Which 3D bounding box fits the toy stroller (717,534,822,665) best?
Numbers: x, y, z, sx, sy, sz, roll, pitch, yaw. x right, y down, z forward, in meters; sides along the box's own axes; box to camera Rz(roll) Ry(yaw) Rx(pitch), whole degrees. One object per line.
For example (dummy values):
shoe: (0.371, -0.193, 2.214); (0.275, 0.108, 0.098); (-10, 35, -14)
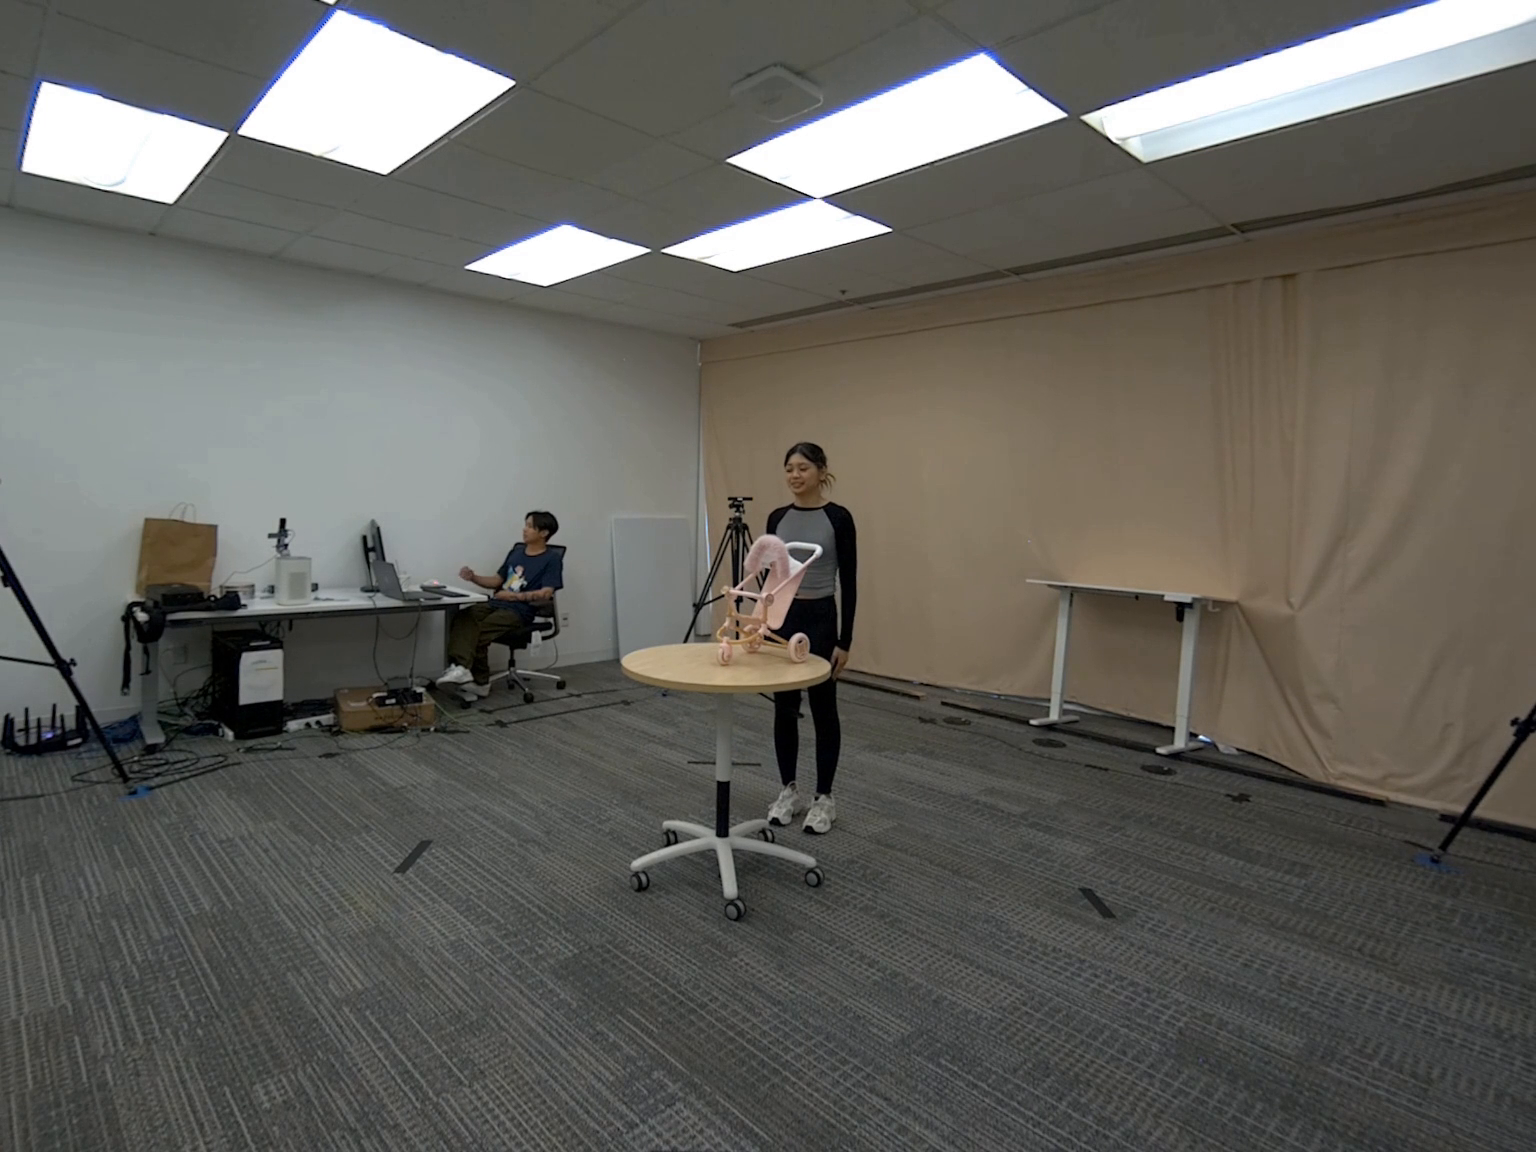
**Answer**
toy stroller: (-0.027, 0.088, 3.135); (0.331, 0.537, 0.288); (19, -9, -39)
